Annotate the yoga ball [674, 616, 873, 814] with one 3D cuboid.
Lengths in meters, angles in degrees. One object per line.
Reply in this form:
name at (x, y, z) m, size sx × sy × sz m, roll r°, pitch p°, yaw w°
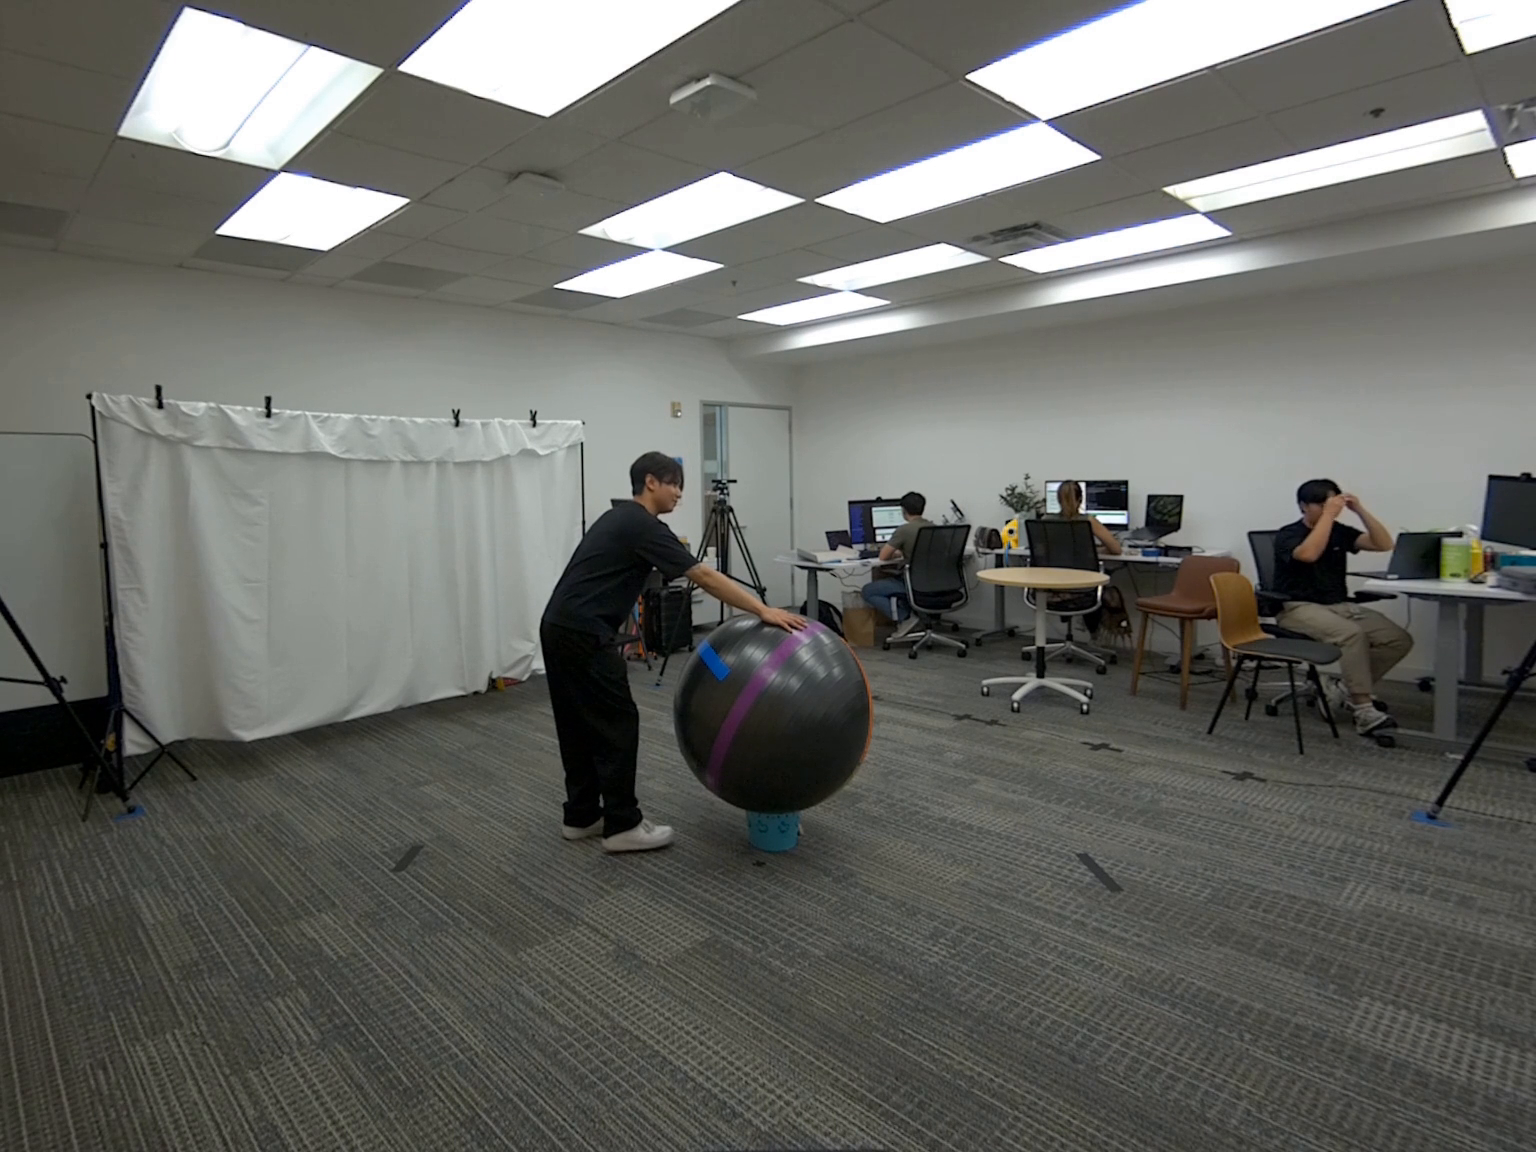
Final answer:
yoga ball at (0.027, 0.518, 3.277) m, size 0.757 × 0.755 × 0.762 m, roll -1°, pitch 5°, yaw -2°
